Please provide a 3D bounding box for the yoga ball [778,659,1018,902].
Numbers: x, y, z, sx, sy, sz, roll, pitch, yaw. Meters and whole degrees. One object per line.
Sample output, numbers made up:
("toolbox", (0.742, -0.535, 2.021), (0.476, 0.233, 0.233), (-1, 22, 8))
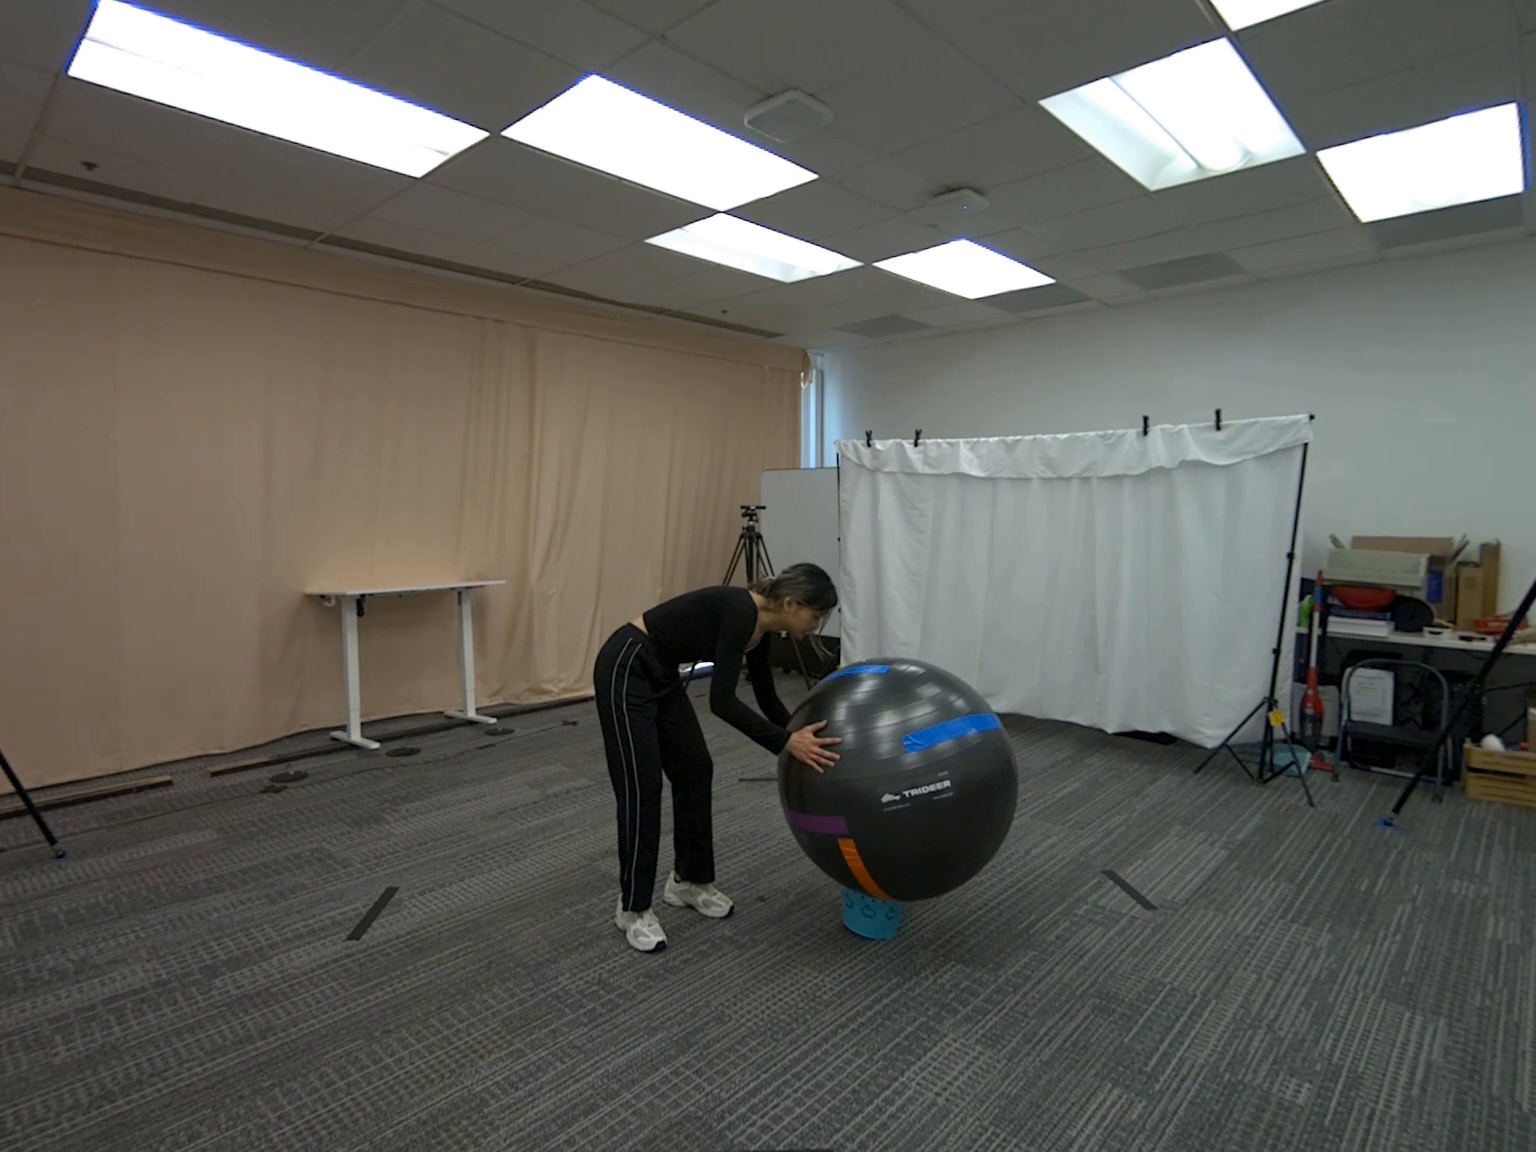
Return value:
("yoga ball", (0.414, 0.652, 2.718), (0.757, 0.756, 0.760), (0, 4, -2))
